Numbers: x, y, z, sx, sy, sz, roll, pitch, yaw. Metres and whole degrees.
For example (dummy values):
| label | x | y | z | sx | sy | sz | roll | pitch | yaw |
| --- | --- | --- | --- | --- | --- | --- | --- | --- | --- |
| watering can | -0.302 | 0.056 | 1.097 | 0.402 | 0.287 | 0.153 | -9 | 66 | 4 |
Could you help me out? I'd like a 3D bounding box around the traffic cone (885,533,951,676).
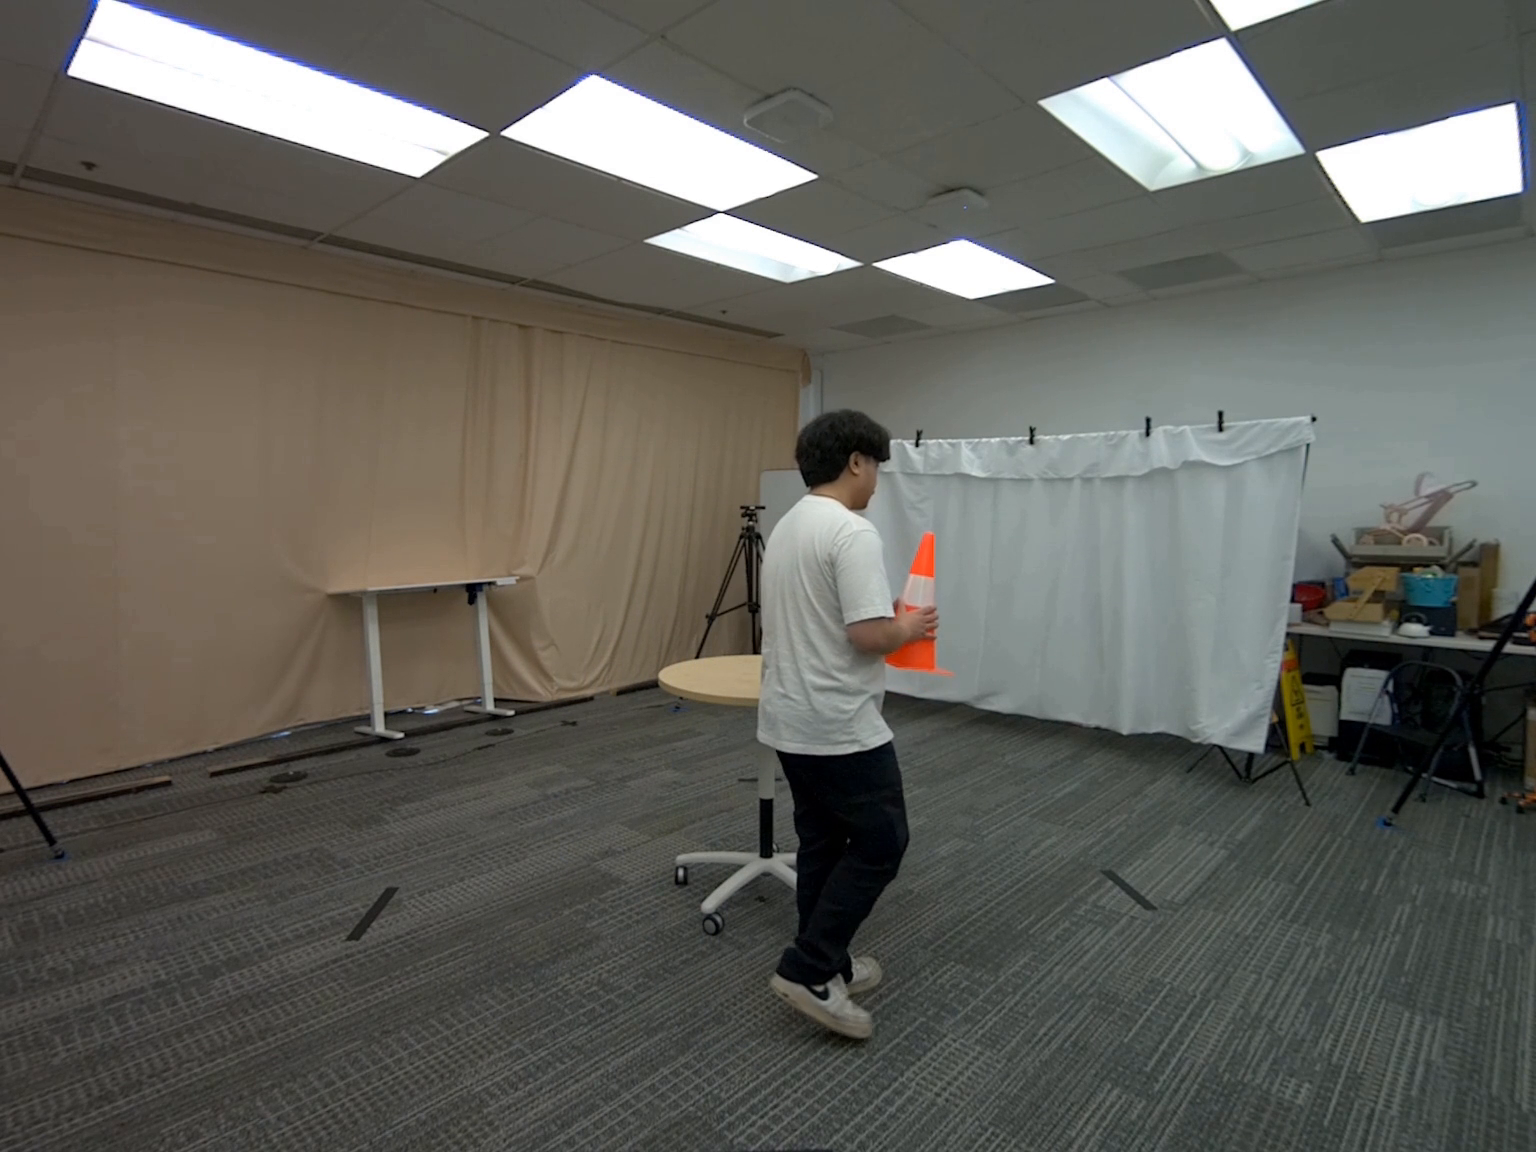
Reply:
| label | x | y | z | sx | sy | sz | roll | pitch | yaw |
| --- | --- | --- | --- | --- | --- | --- | --- | --- | --- |
| traffic cone | 0.444 | 0.068 | 2.401 | 0.198 | 0.383 | 0.210 | 10 | 0 | -44 |
